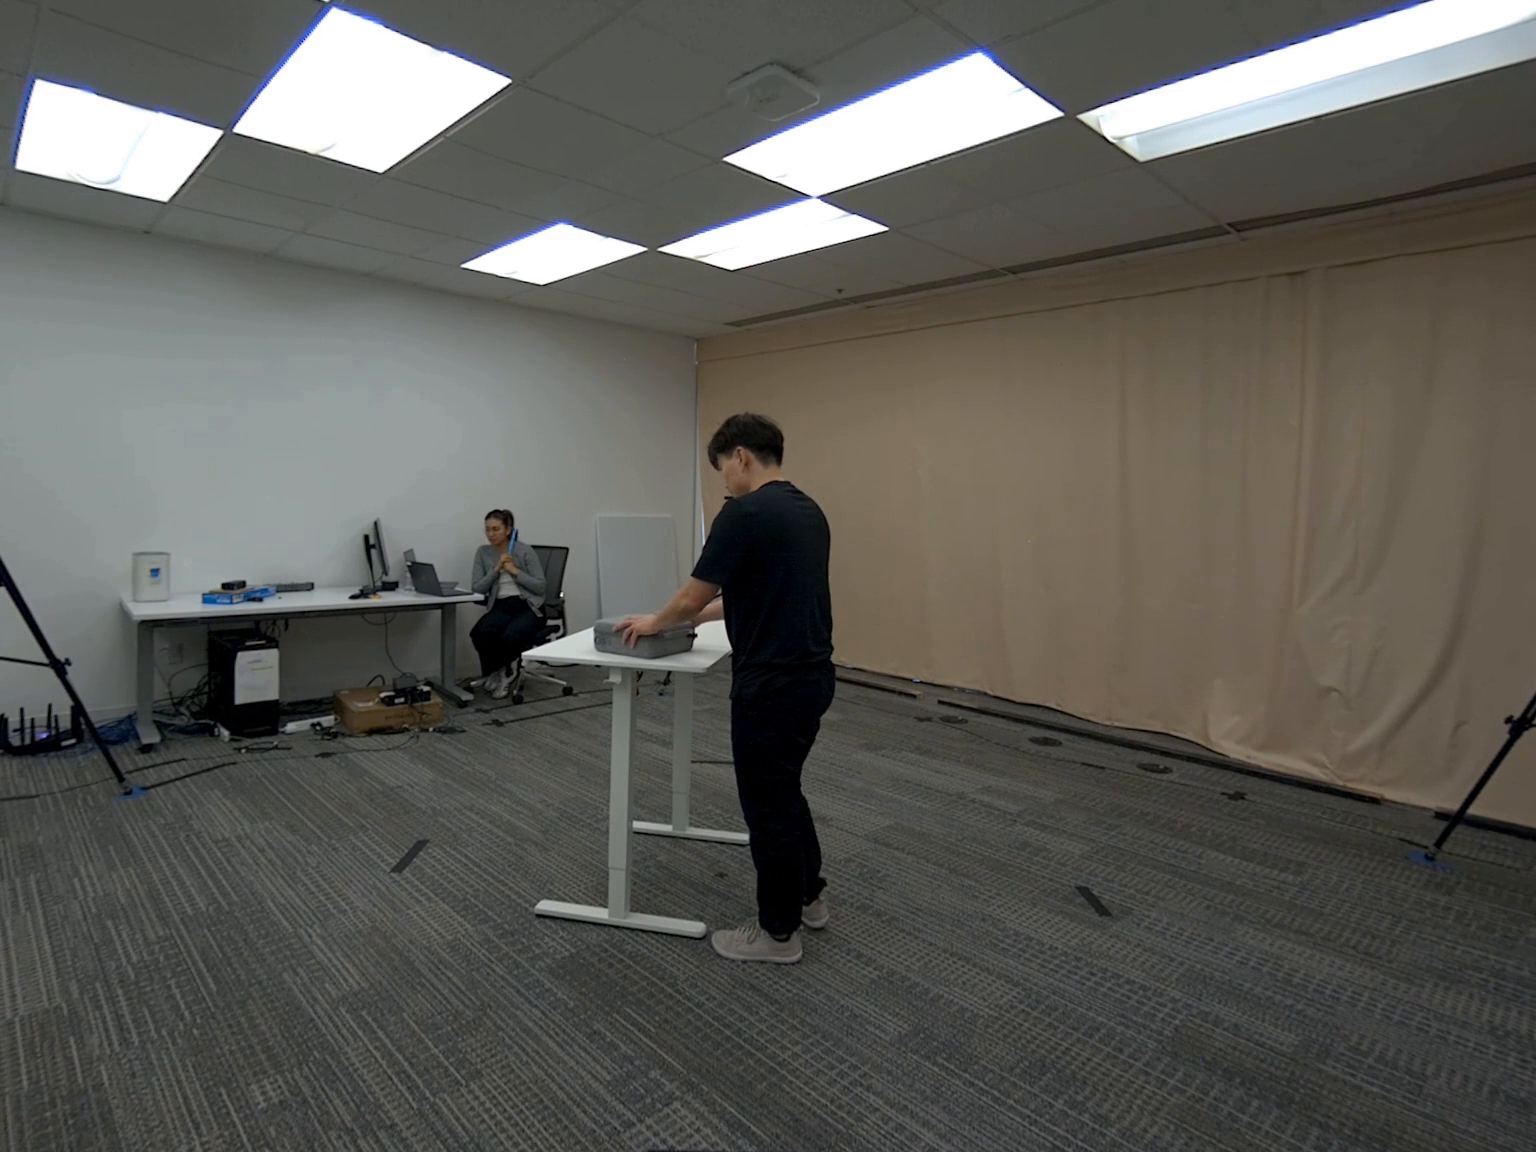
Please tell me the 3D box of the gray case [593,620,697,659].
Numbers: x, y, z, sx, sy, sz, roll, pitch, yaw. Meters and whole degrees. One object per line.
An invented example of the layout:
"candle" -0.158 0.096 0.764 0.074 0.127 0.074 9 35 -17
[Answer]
"gray case" -0.413 0.196 2.764 0.267 0.104 0.252 5 7 33
